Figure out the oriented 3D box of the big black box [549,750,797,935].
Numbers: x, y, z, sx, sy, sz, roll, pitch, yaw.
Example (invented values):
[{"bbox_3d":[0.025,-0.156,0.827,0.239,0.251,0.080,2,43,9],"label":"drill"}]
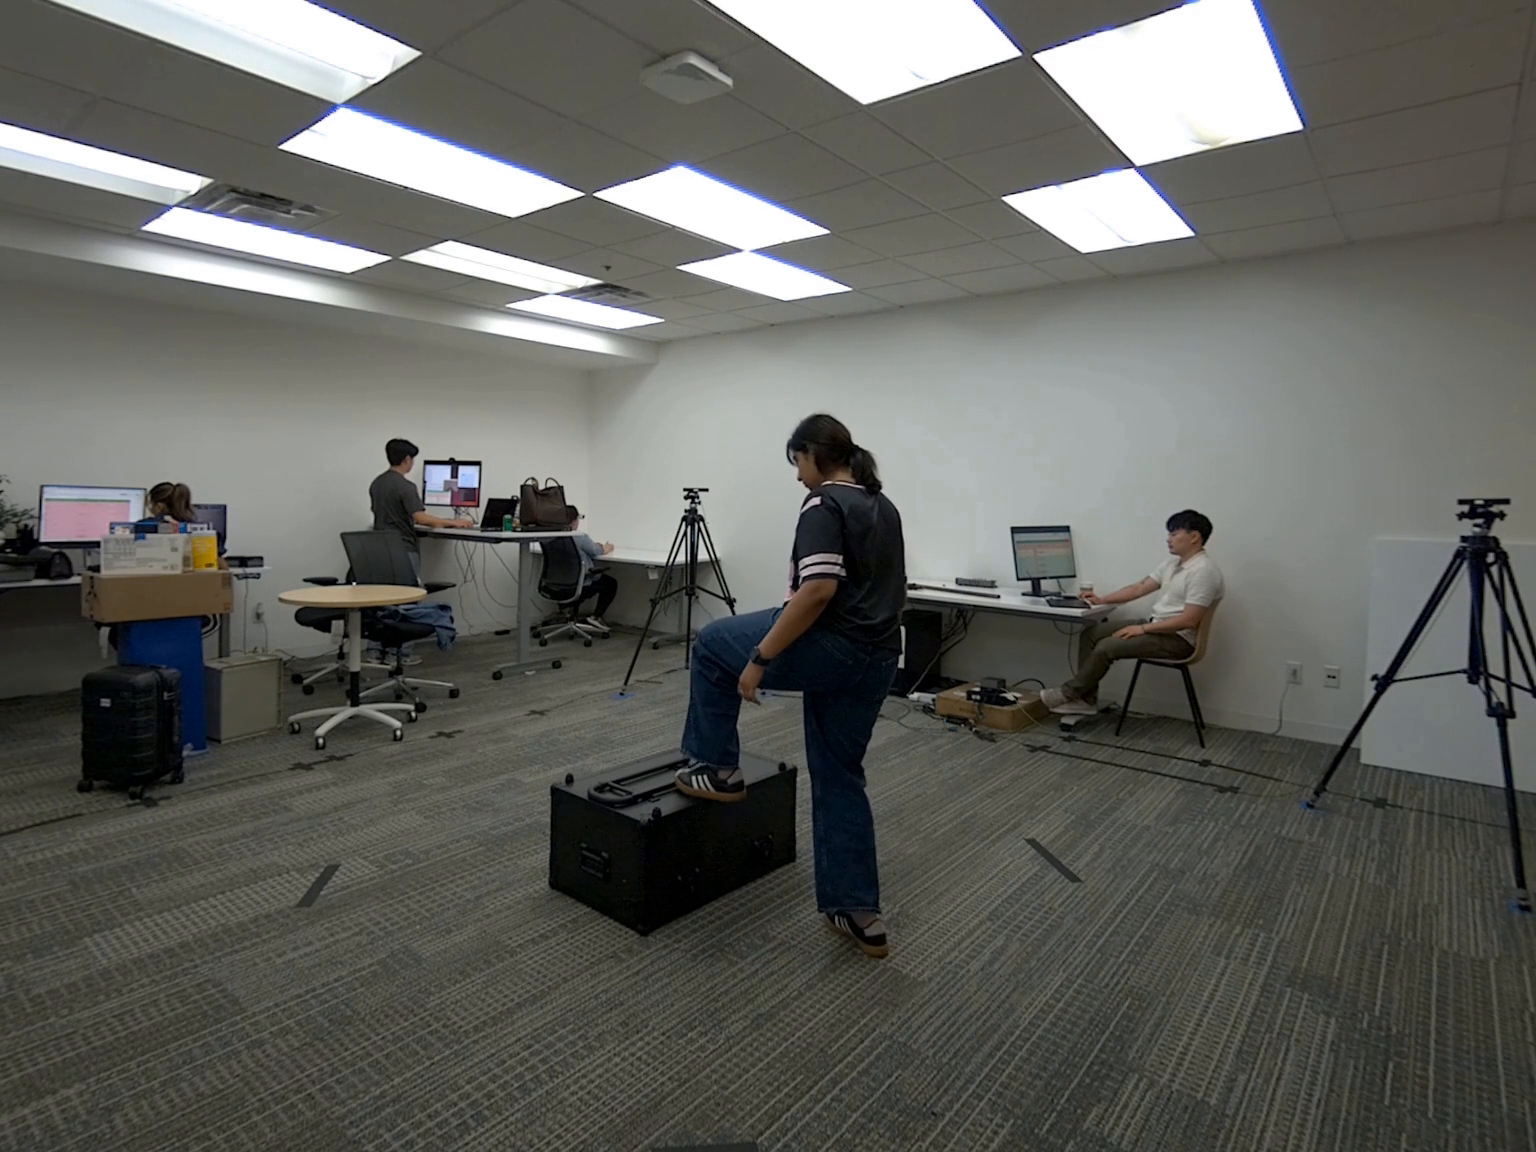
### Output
[{"bbox_3d":[-0.318,0.884,3.095,0.541,0.384,0.843,3,5,40],"label":"big black box"}]
